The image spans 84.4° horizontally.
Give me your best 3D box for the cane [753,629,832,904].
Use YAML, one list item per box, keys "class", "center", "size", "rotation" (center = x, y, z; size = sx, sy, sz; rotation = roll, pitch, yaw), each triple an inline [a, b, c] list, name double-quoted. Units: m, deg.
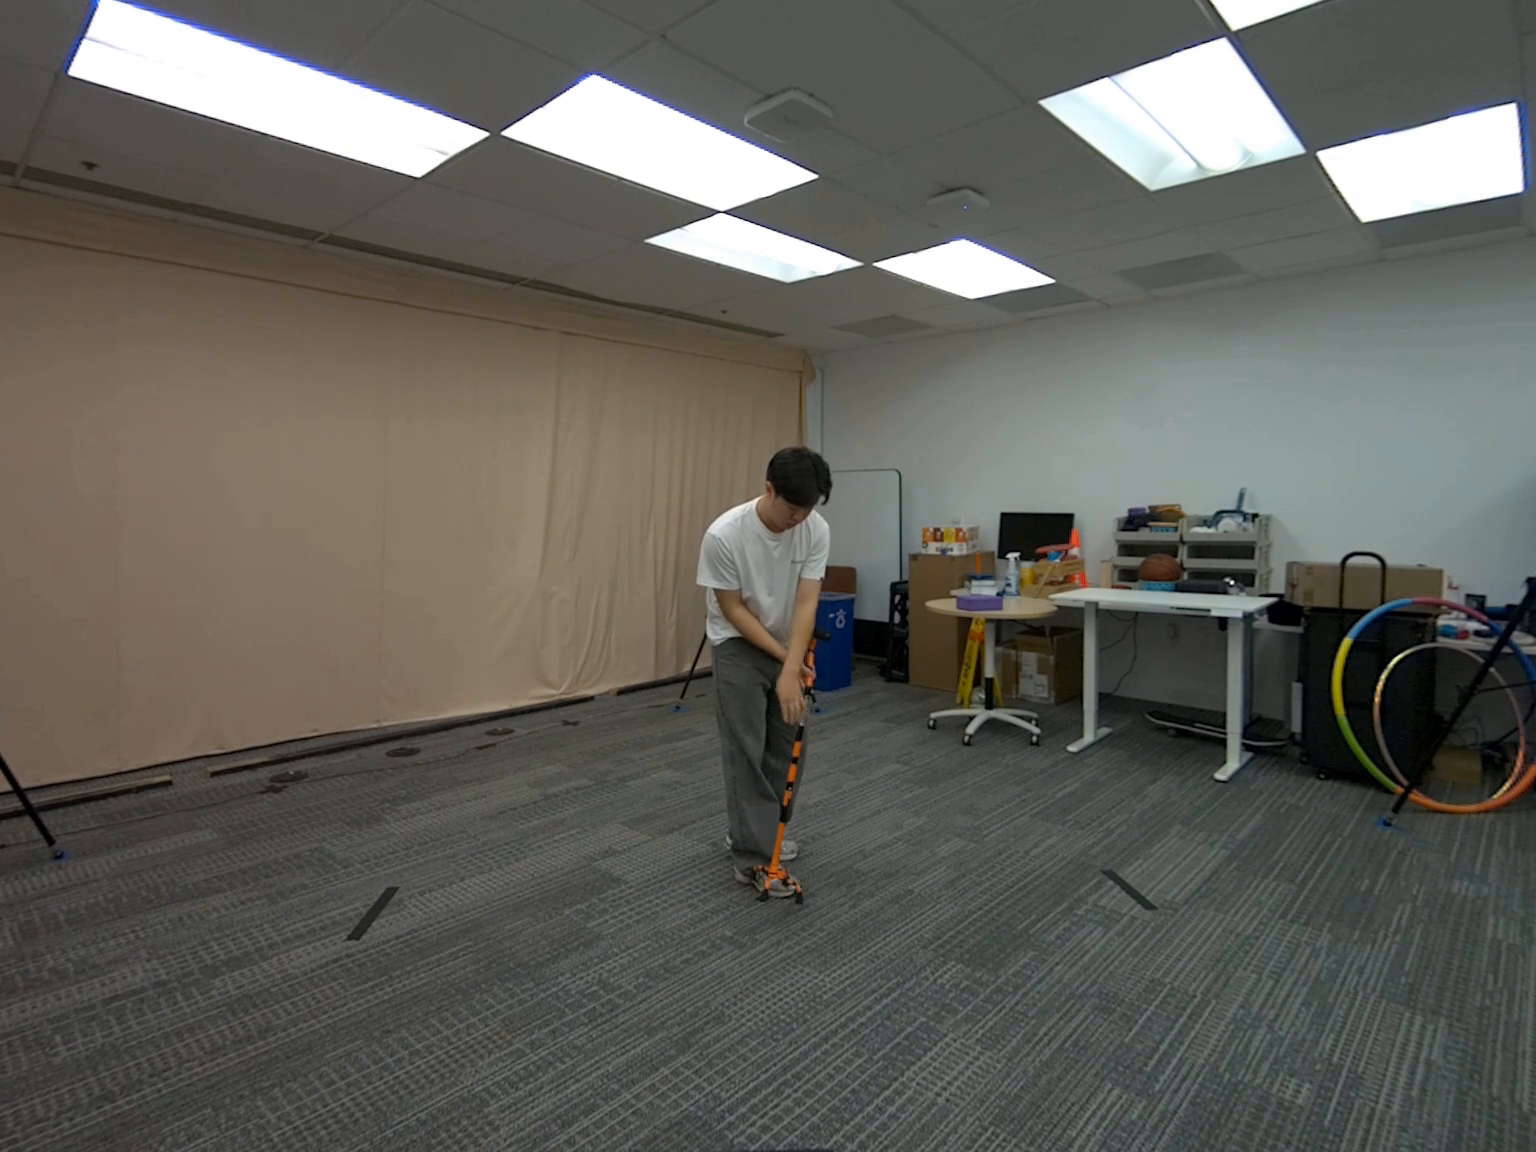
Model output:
- class: "cane"
  center: [0.111, 0.639, 2.923]
  size: [0.150, 0.910, 0.208]
  rotation: [11, -5, -11]
